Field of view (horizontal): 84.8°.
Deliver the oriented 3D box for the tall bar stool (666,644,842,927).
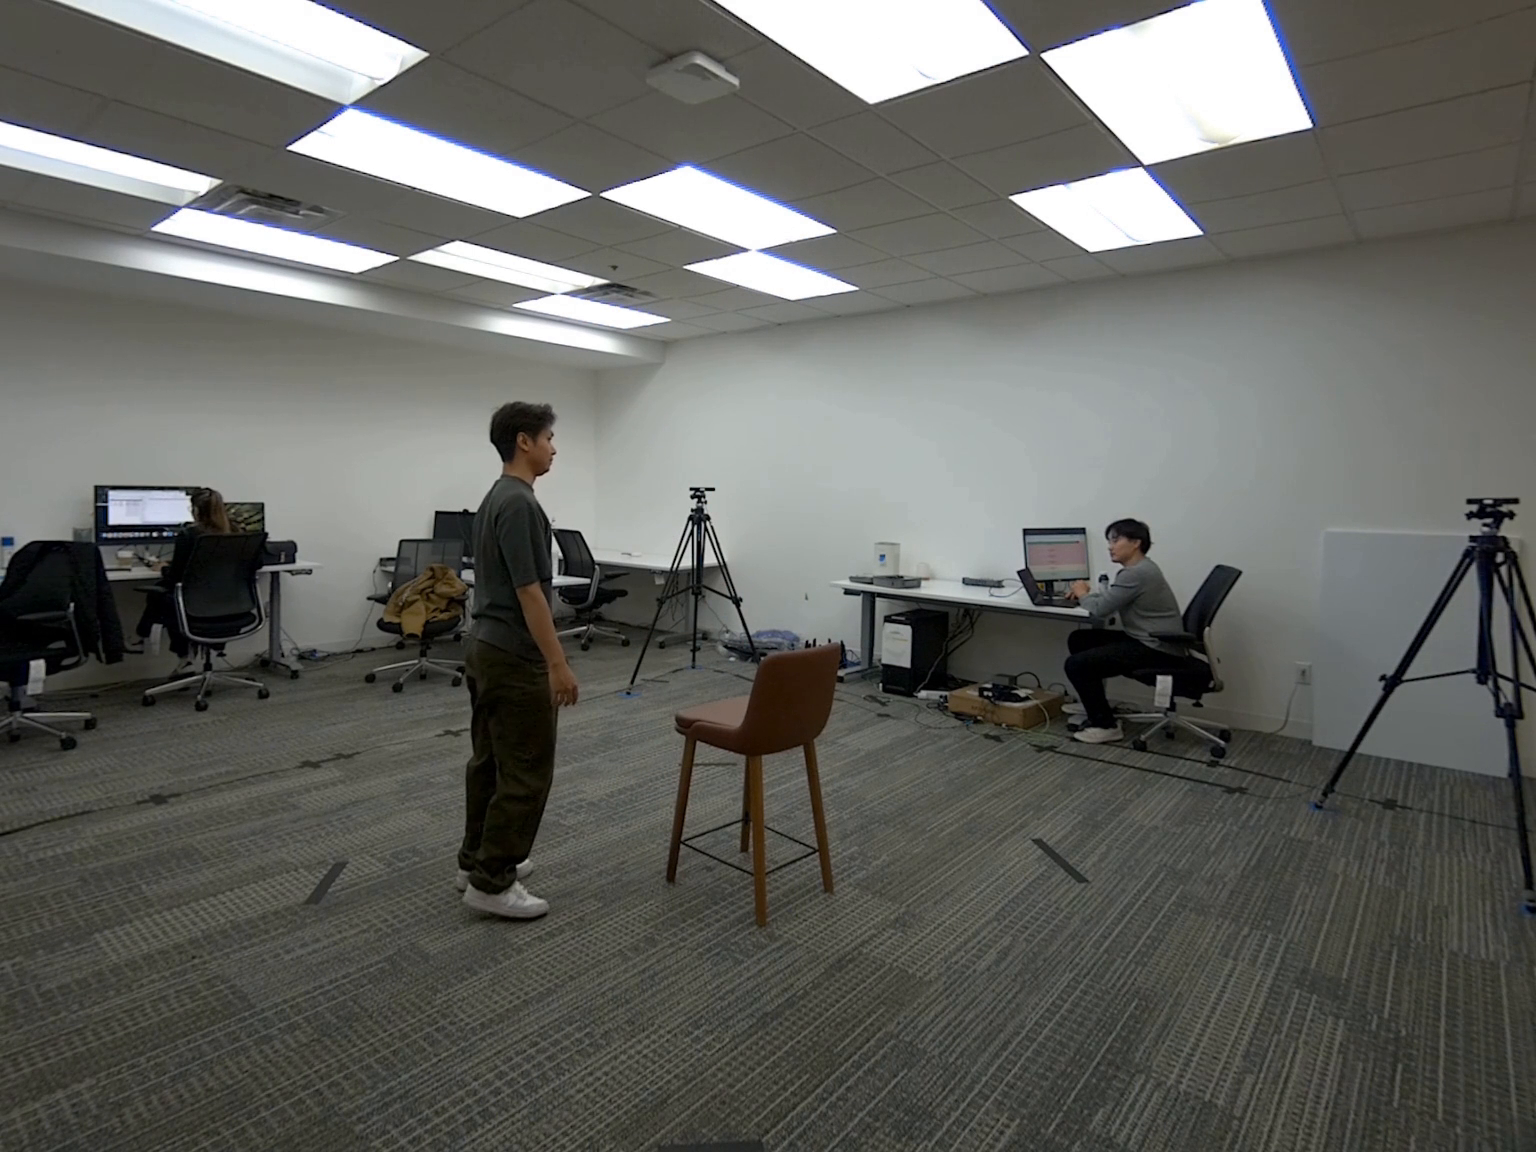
[{"bbox_3d":[-0.053,0.652,2.957,0.484,0.886,0.442,7,6,43],"label":"tall bar stool"}]
